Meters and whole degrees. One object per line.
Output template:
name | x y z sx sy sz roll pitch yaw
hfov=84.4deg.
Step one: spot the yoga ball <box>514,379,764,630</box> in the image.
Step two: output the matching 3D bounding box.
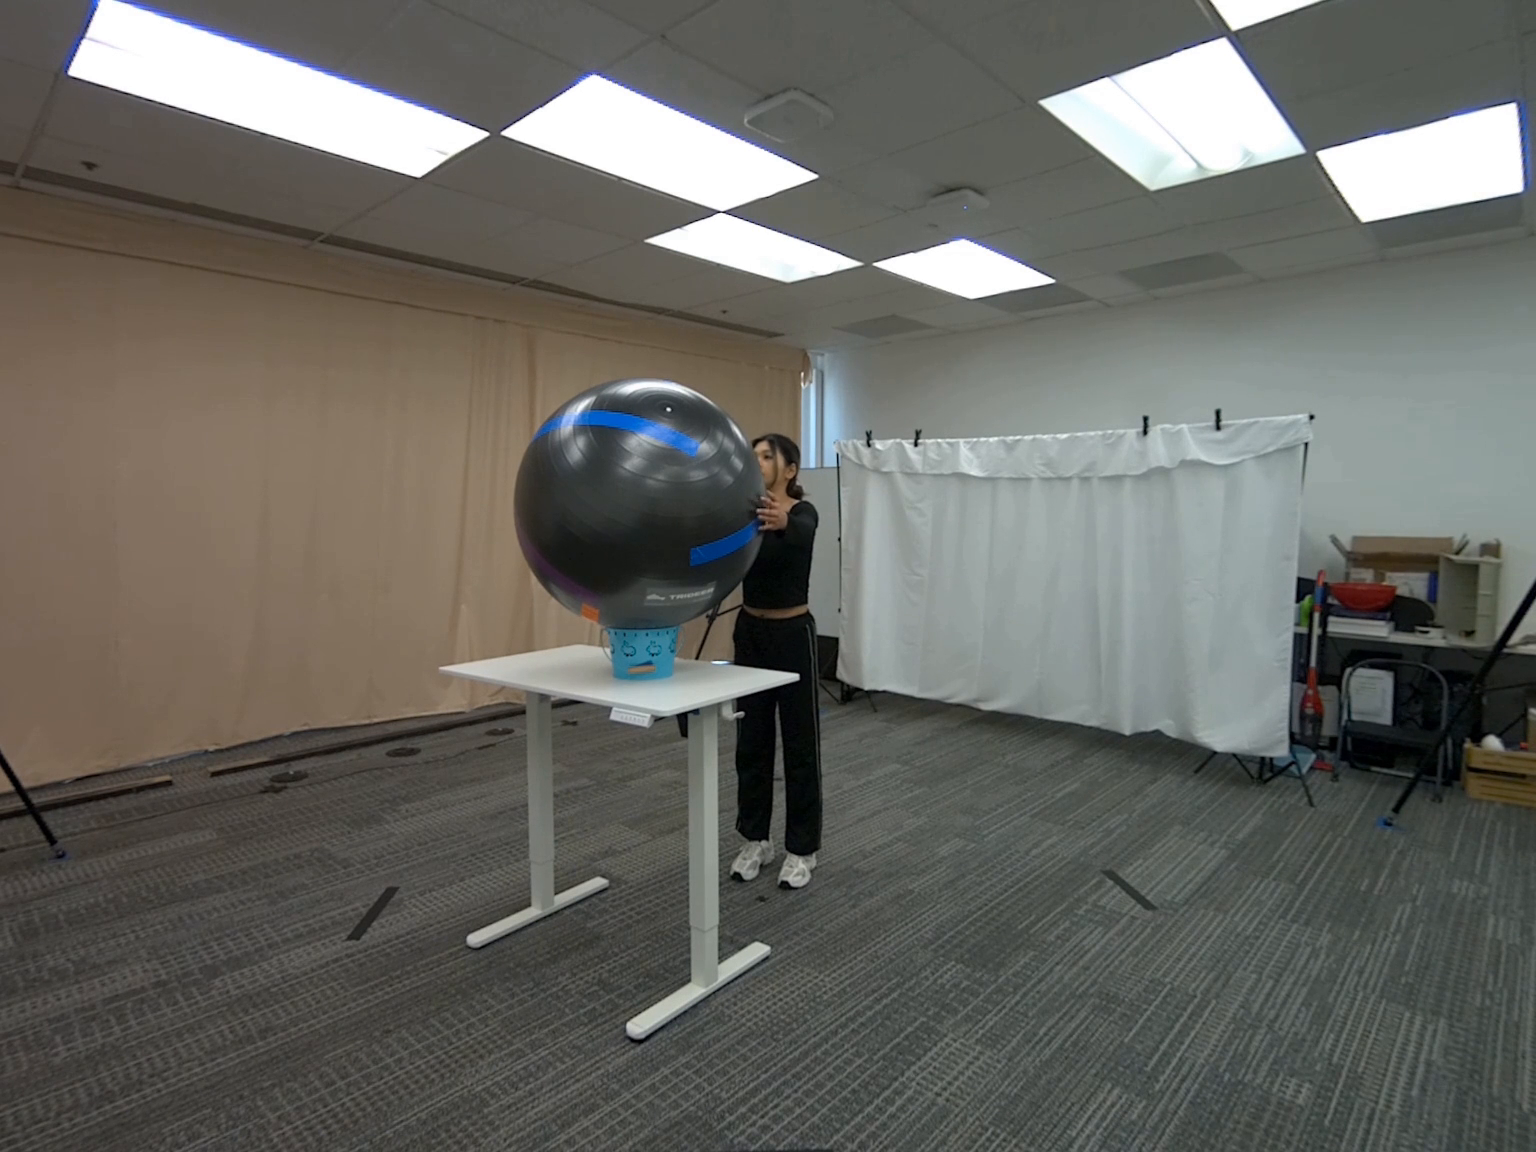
yoga ball | -0.392 -0.208 2.535 0.757 0.756 0.761 0 4 -2
